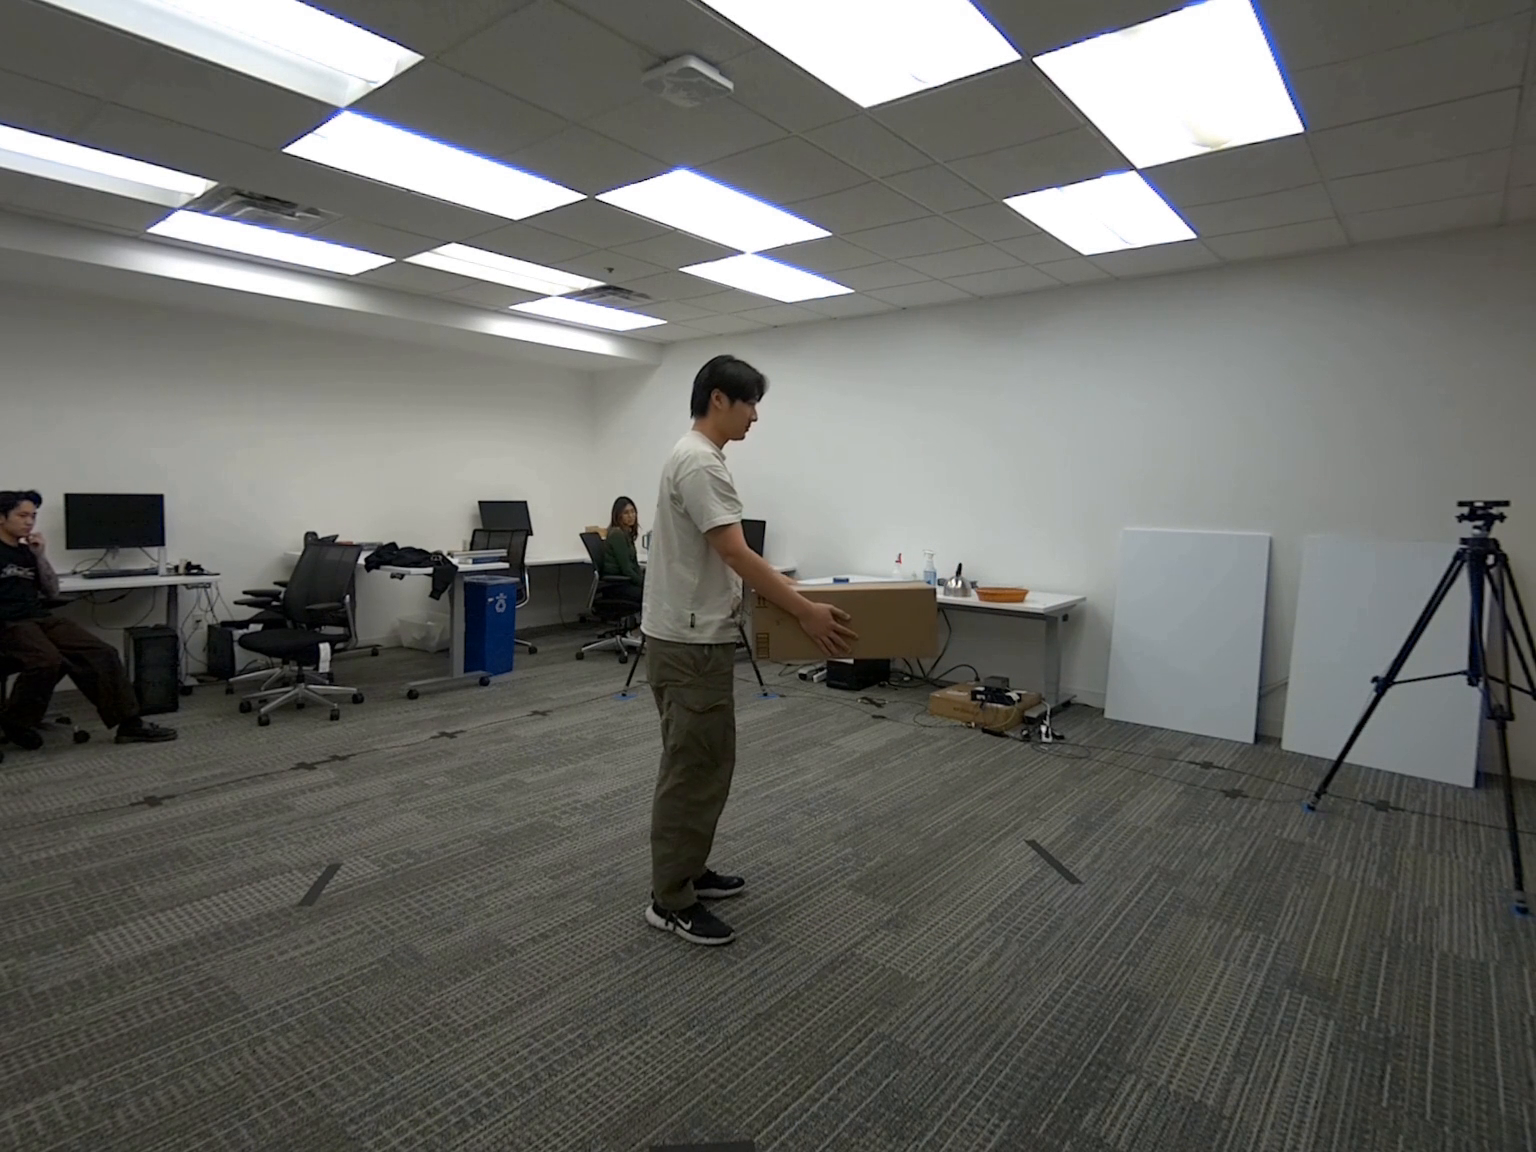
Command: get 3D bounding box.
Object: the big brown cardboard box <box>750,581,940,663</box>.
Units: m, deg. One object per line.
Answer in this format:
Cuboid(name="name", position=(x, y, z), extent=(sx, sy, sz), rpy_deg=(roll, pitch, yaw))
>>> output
Cuboid(name="big brown cardboard box", position=(0.229, 0.137, 2.787), extent=(0.590, 0.233, 0.417), rpy_deg=(-2, 1, 1))
